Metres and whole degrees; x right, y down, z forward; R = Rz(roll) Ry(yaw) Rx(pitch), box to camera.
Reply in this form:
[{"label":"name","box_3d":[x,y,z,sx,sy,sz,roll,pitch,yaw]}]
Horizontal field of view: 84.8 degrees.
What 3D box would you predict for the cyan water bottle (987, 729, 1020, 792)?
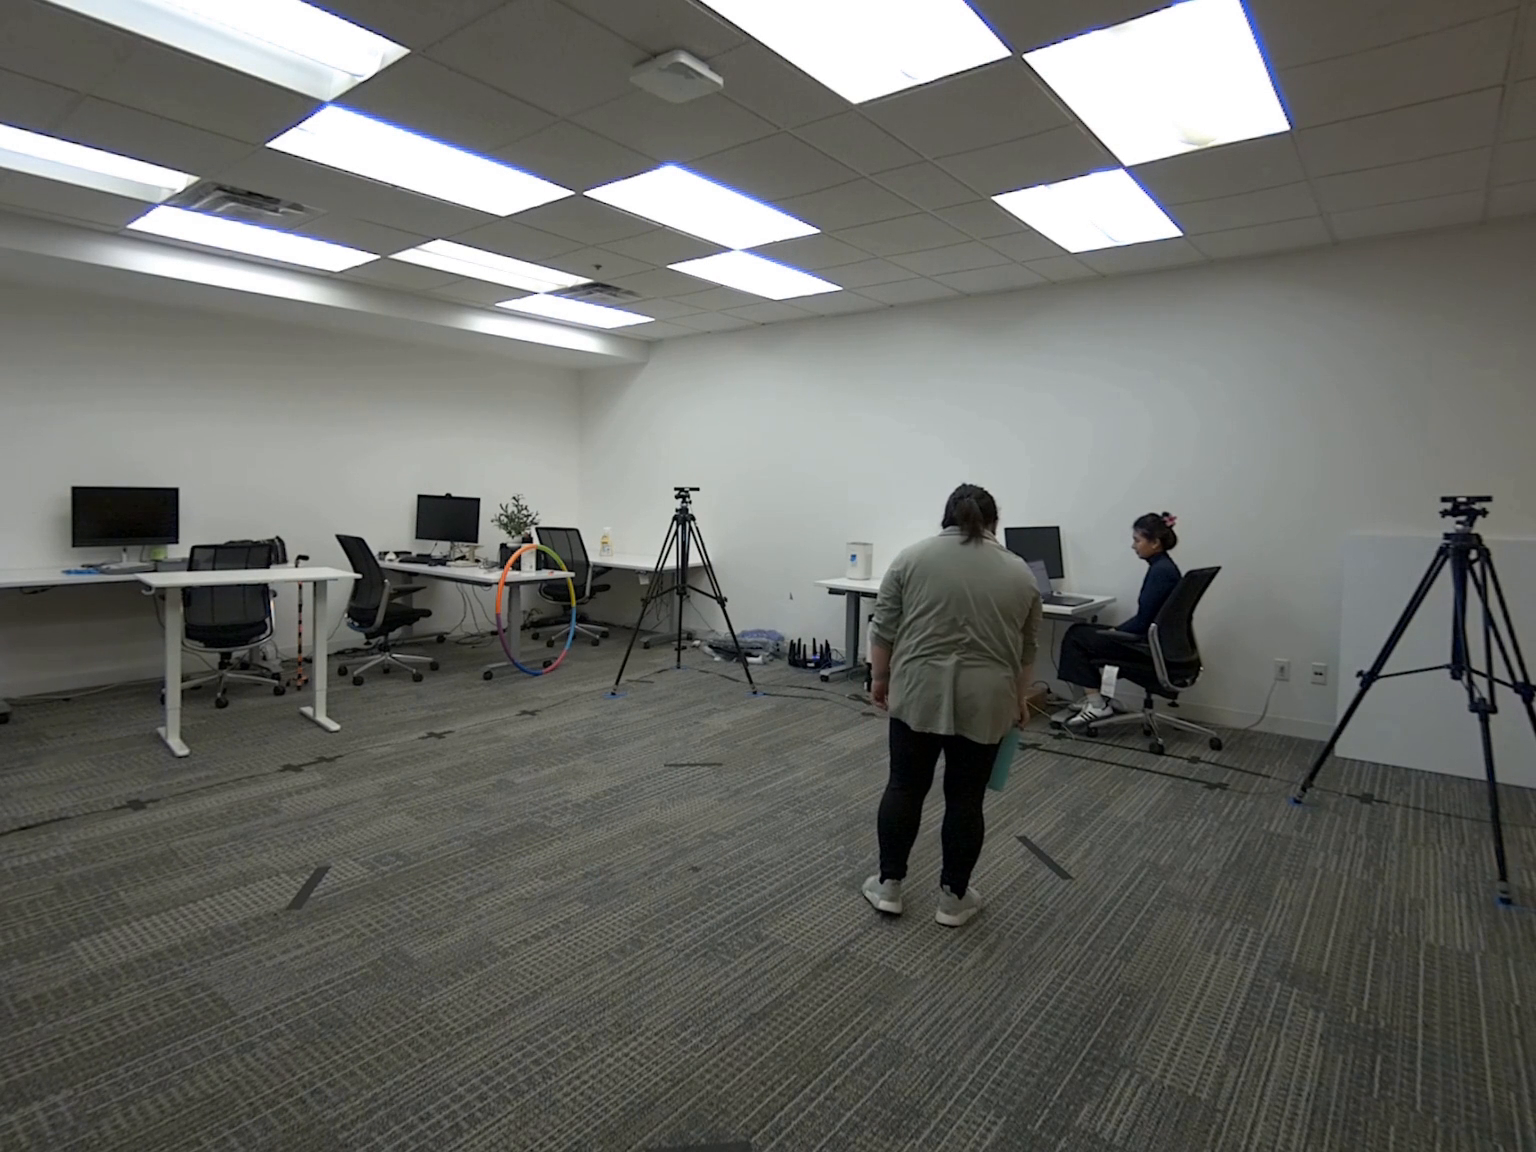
[{"label":"cyan water bottle","box_3d":[0.799,0.598,2.960,0.092,0.284,0.092,17,-2,-2]}]
